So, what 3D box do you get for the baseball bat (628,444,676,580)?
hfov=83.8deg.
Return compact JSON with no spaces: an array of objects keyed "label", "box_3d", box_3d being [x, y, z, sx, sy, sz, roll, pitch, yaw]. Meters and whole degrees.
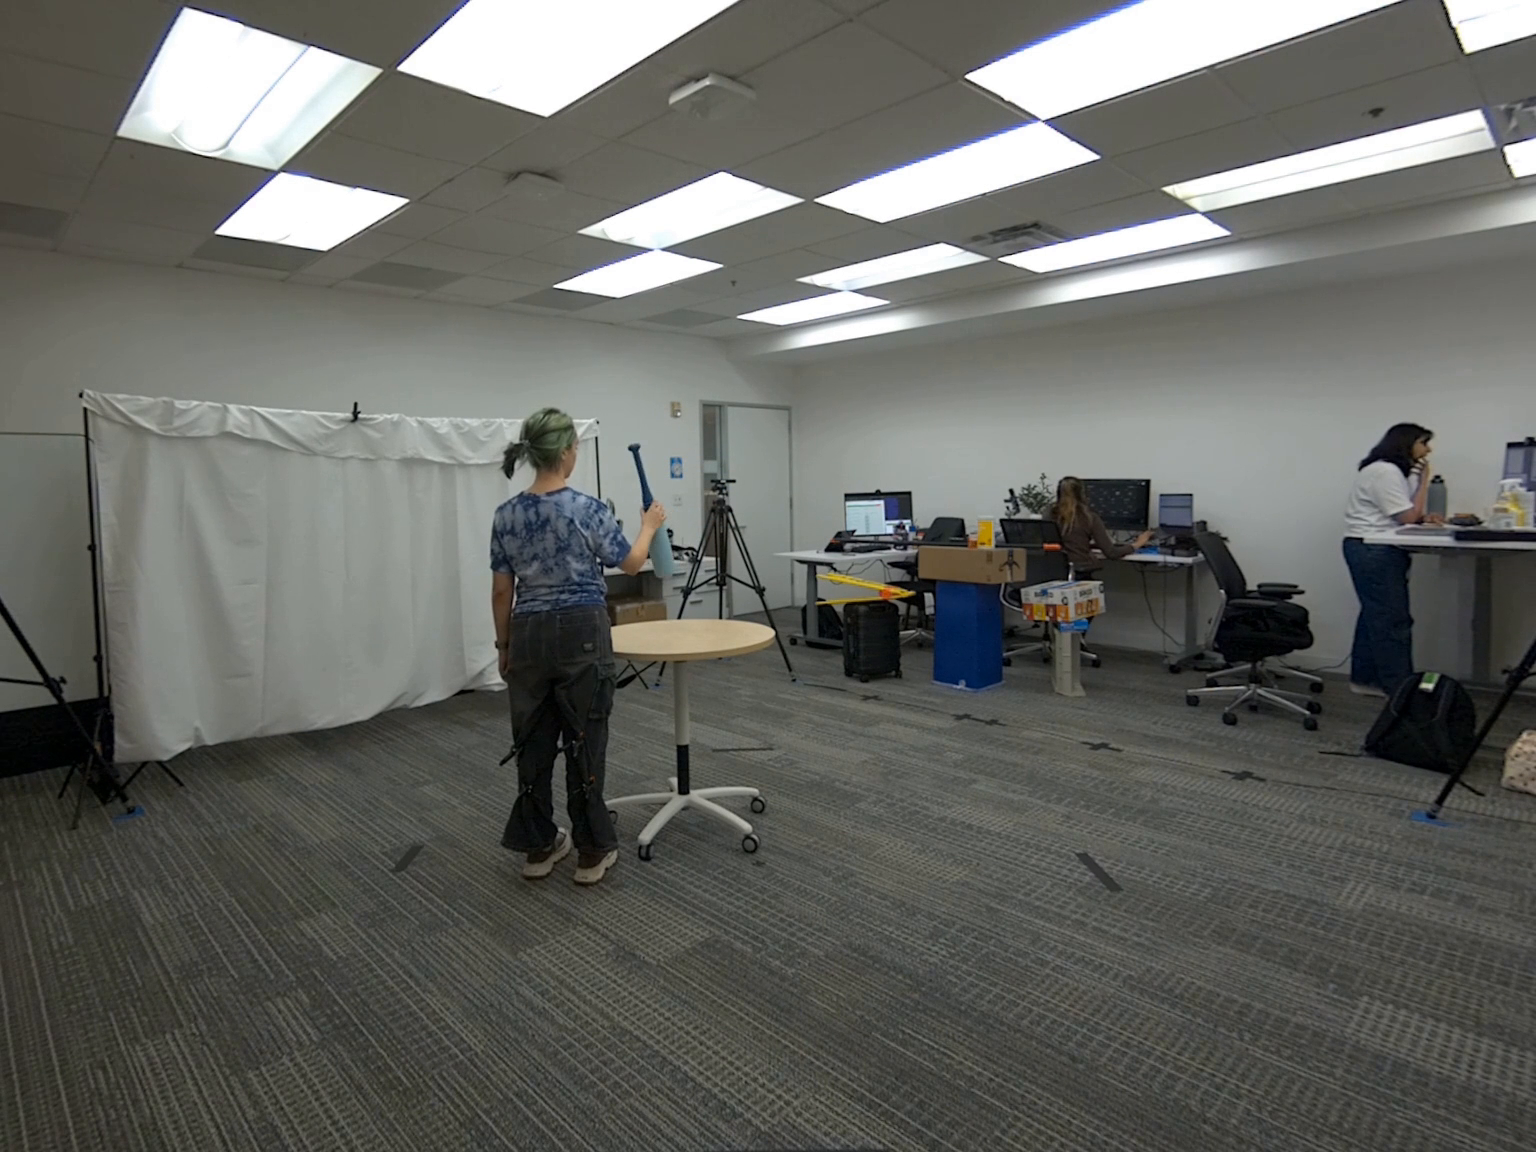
[{"label":"baseball bat","box_3d":[-0.468,-0.259,3.368,0.089,0.535,0.090,-11,14,1]}]
